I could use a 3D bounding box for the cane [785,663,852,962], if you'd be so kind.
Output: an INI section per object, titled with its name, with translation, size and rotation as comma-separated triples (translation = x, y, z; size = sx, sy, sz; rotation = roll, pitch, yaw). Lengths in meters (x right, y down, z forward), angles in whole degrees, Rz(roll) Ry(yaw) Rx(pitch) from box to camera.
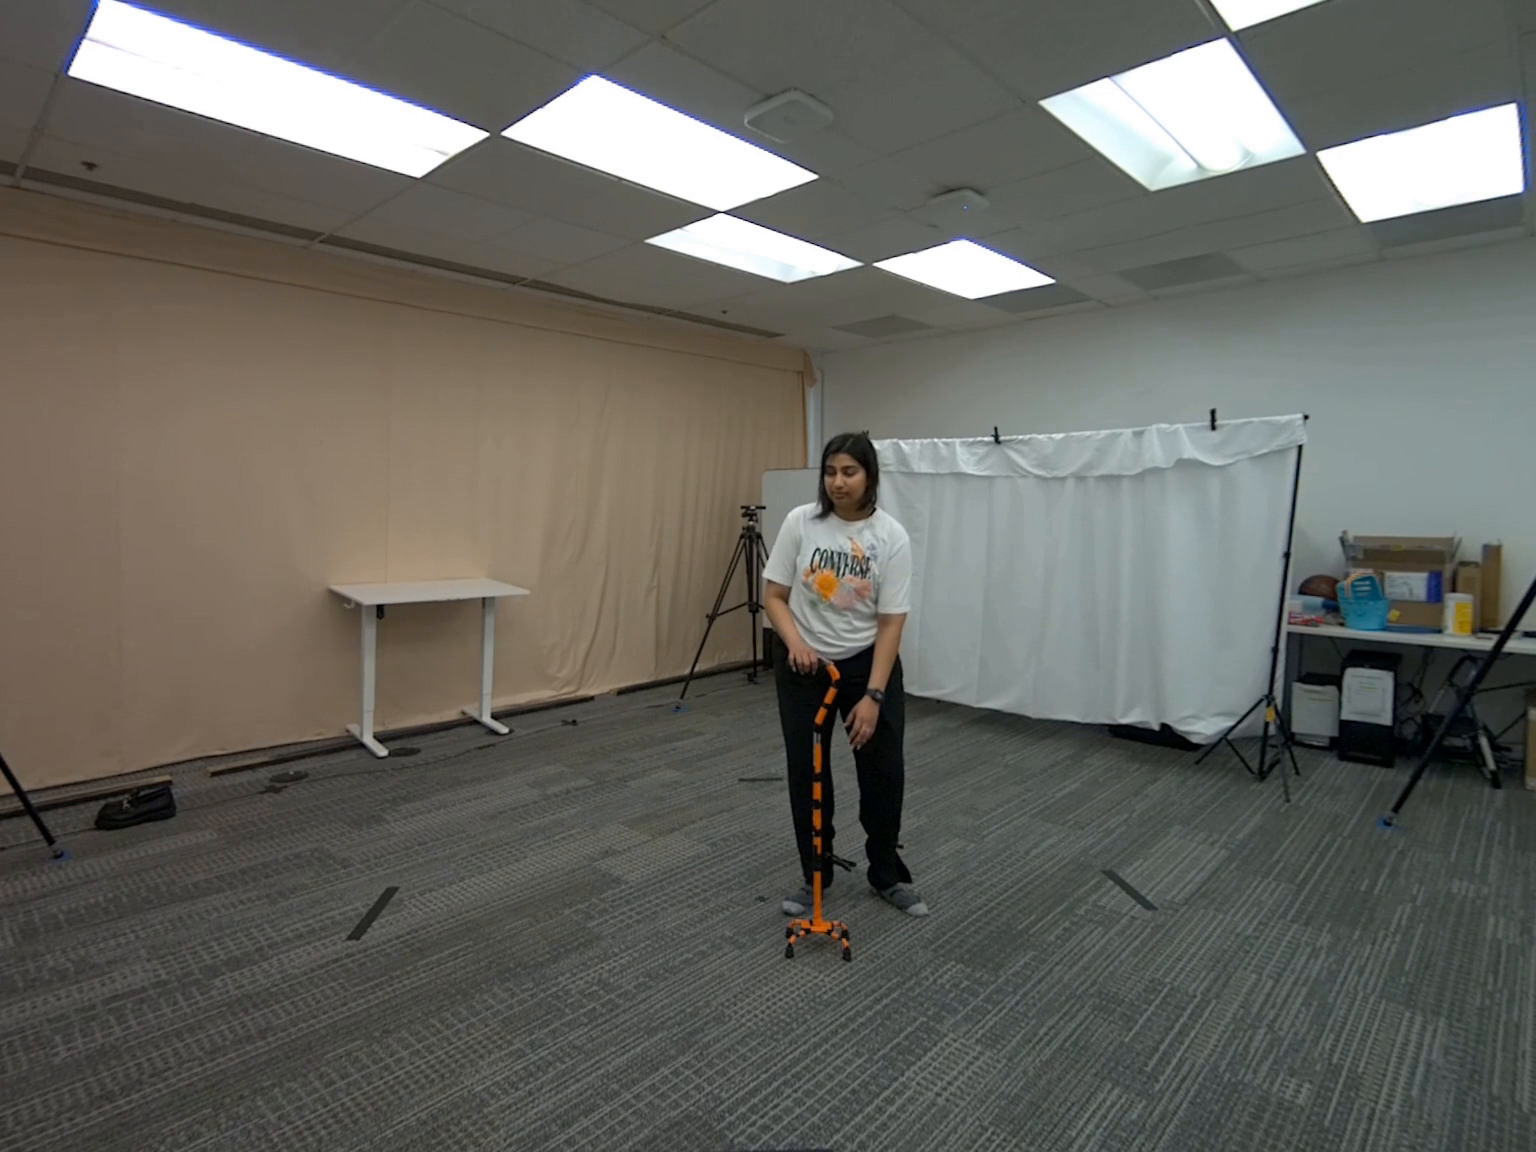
[cane]
translation = 0.159, 0.712, 2.643
size = 0.207, 0.907, 0.151
rotation = 0, 2, 3
